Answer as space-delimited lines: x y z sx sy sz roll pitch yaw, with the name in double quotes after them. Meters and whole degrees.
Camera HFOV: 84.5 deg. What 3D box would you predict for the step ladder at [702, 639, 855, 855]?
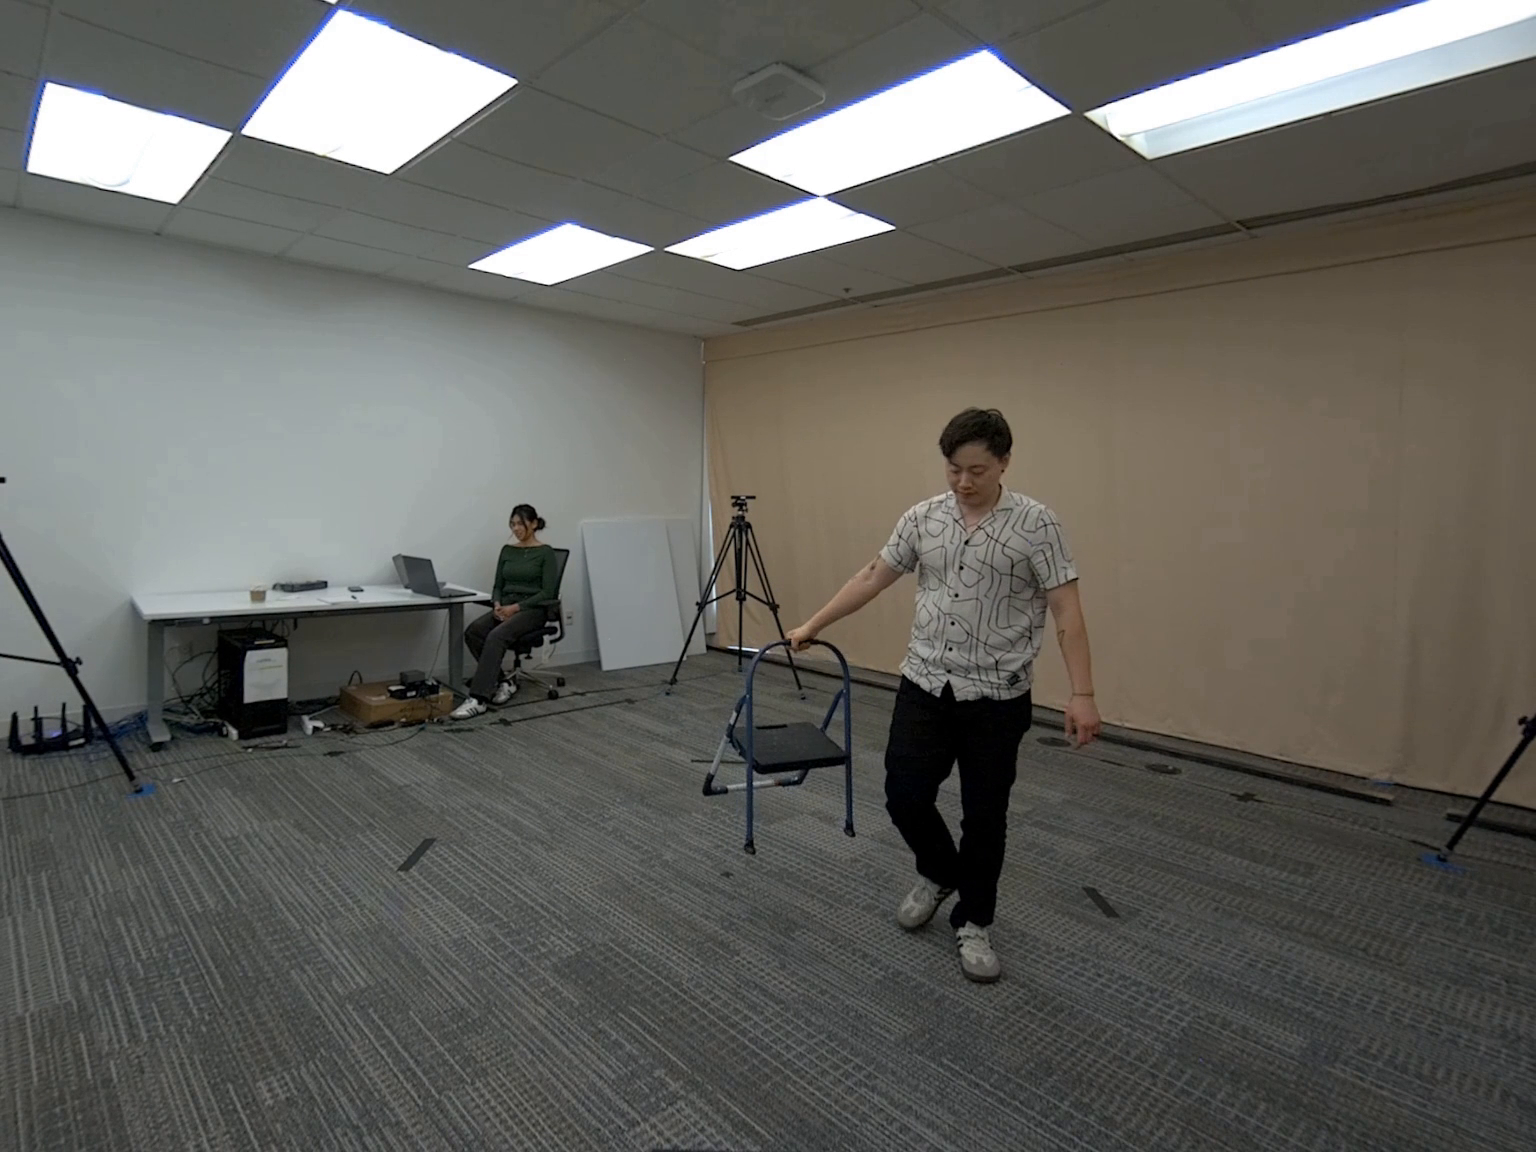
0.083 0.527 2.775 0.421 0.601 0.360 3 16 -33 "step ladder"
